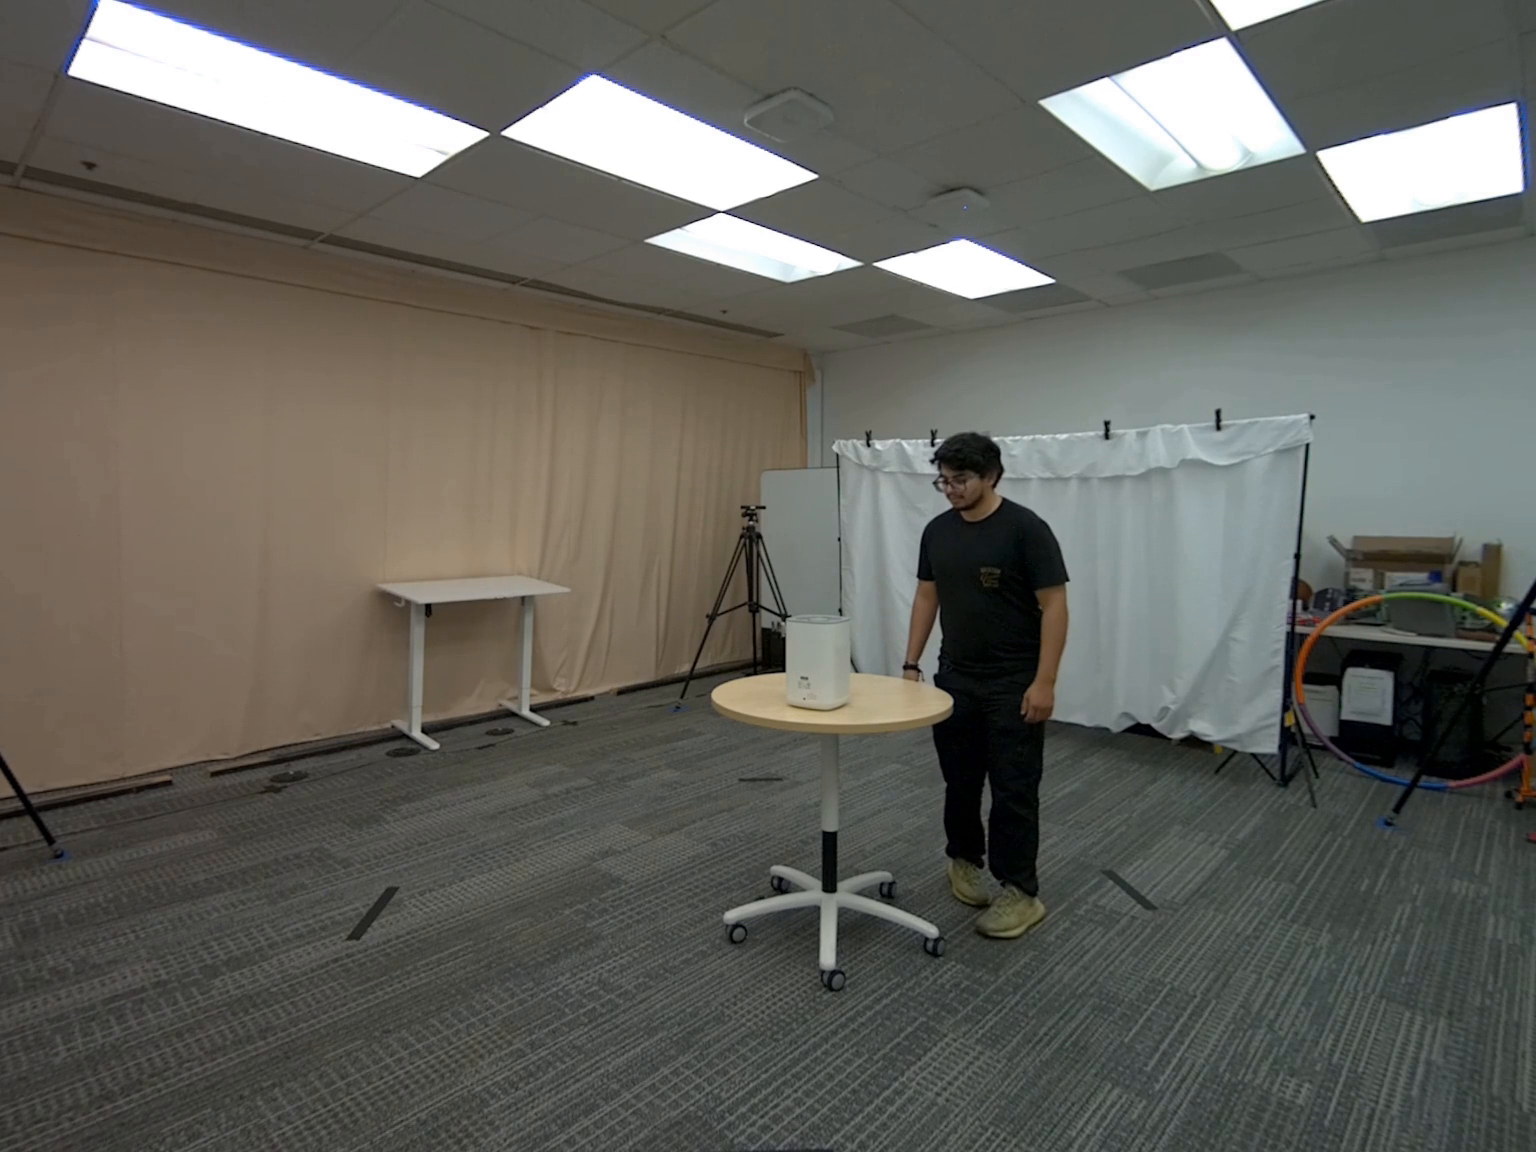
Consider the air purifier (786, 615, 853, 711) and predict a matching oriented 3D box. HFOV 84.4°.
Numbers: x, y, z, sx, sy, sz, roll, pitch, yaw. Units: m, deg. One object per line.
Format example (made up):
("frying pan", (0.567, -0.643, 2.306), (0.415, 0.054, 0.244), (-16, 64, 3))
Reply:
("air purifier", (0.165, 0.262, 2.558), (0.176, 0.265, 0.167), (0, 2, 30))
